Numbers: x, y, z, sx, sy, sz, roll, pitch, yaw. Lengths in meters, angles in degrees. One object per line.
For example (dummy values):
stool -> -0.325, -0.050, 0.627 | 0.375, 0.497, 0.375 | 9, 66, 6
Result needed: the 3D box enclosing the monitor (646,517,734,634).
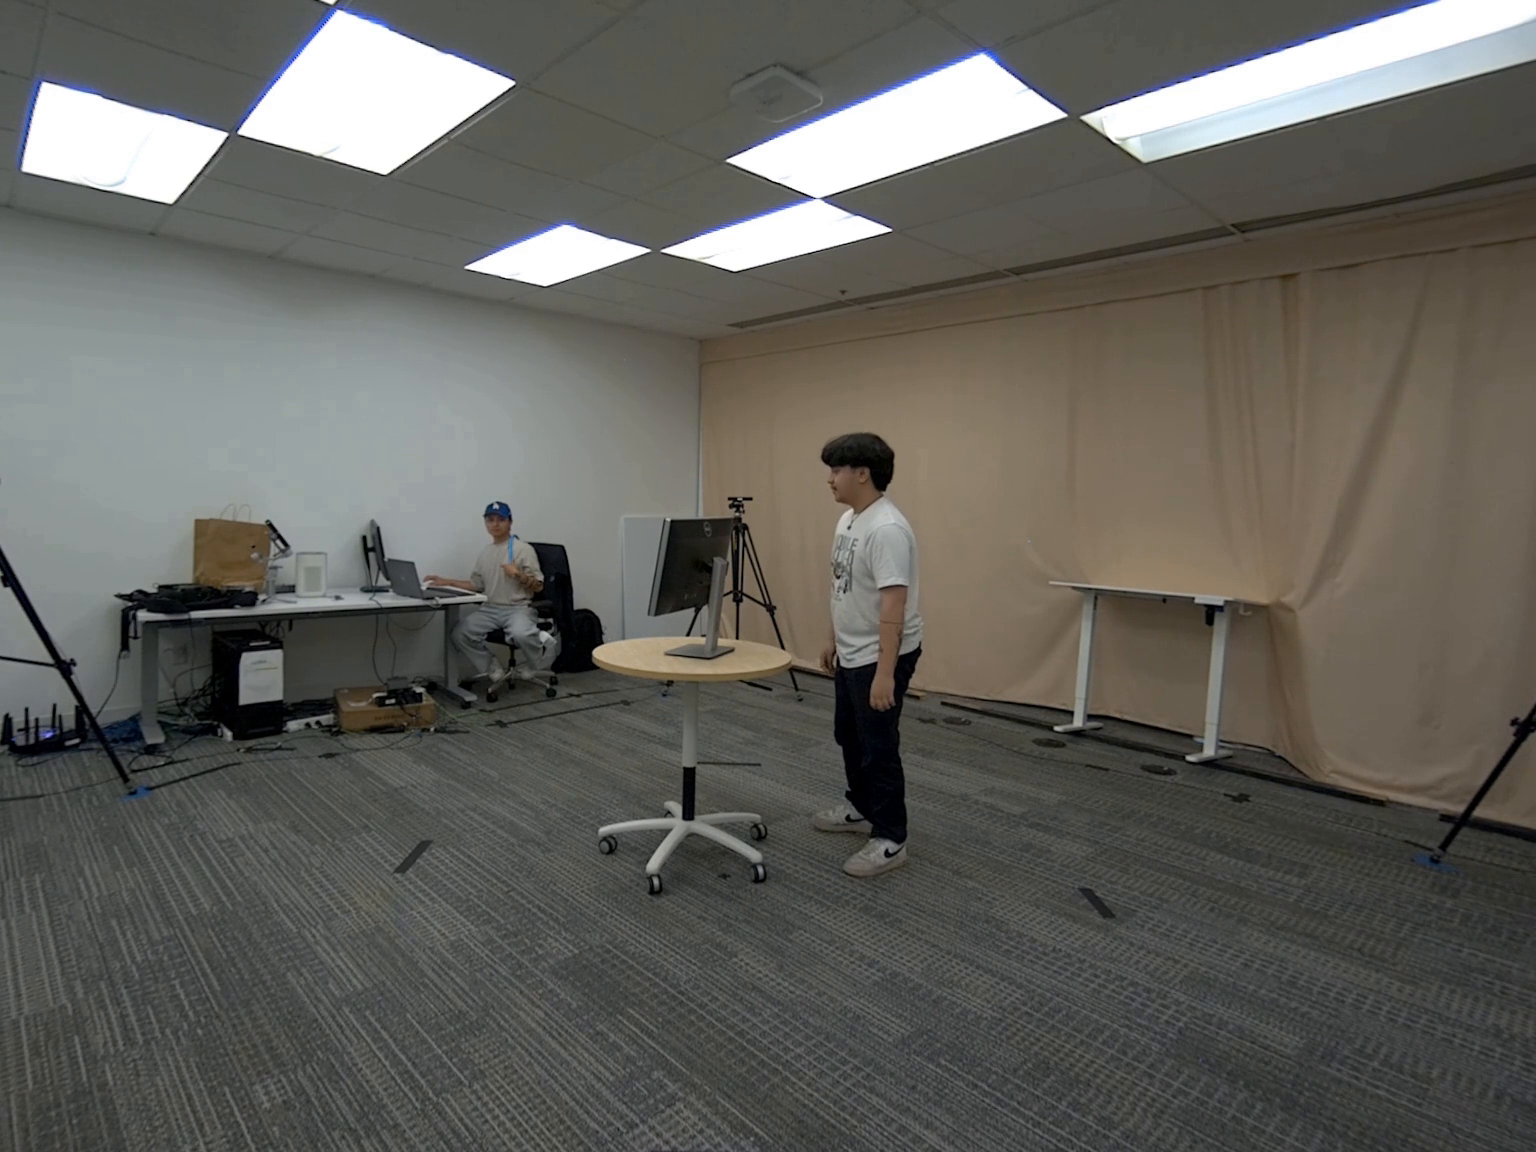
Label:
monitor -> -0.235, 0.046, 3.240 | 0.214, 0.552, 0.556 | 7, 6, 22
